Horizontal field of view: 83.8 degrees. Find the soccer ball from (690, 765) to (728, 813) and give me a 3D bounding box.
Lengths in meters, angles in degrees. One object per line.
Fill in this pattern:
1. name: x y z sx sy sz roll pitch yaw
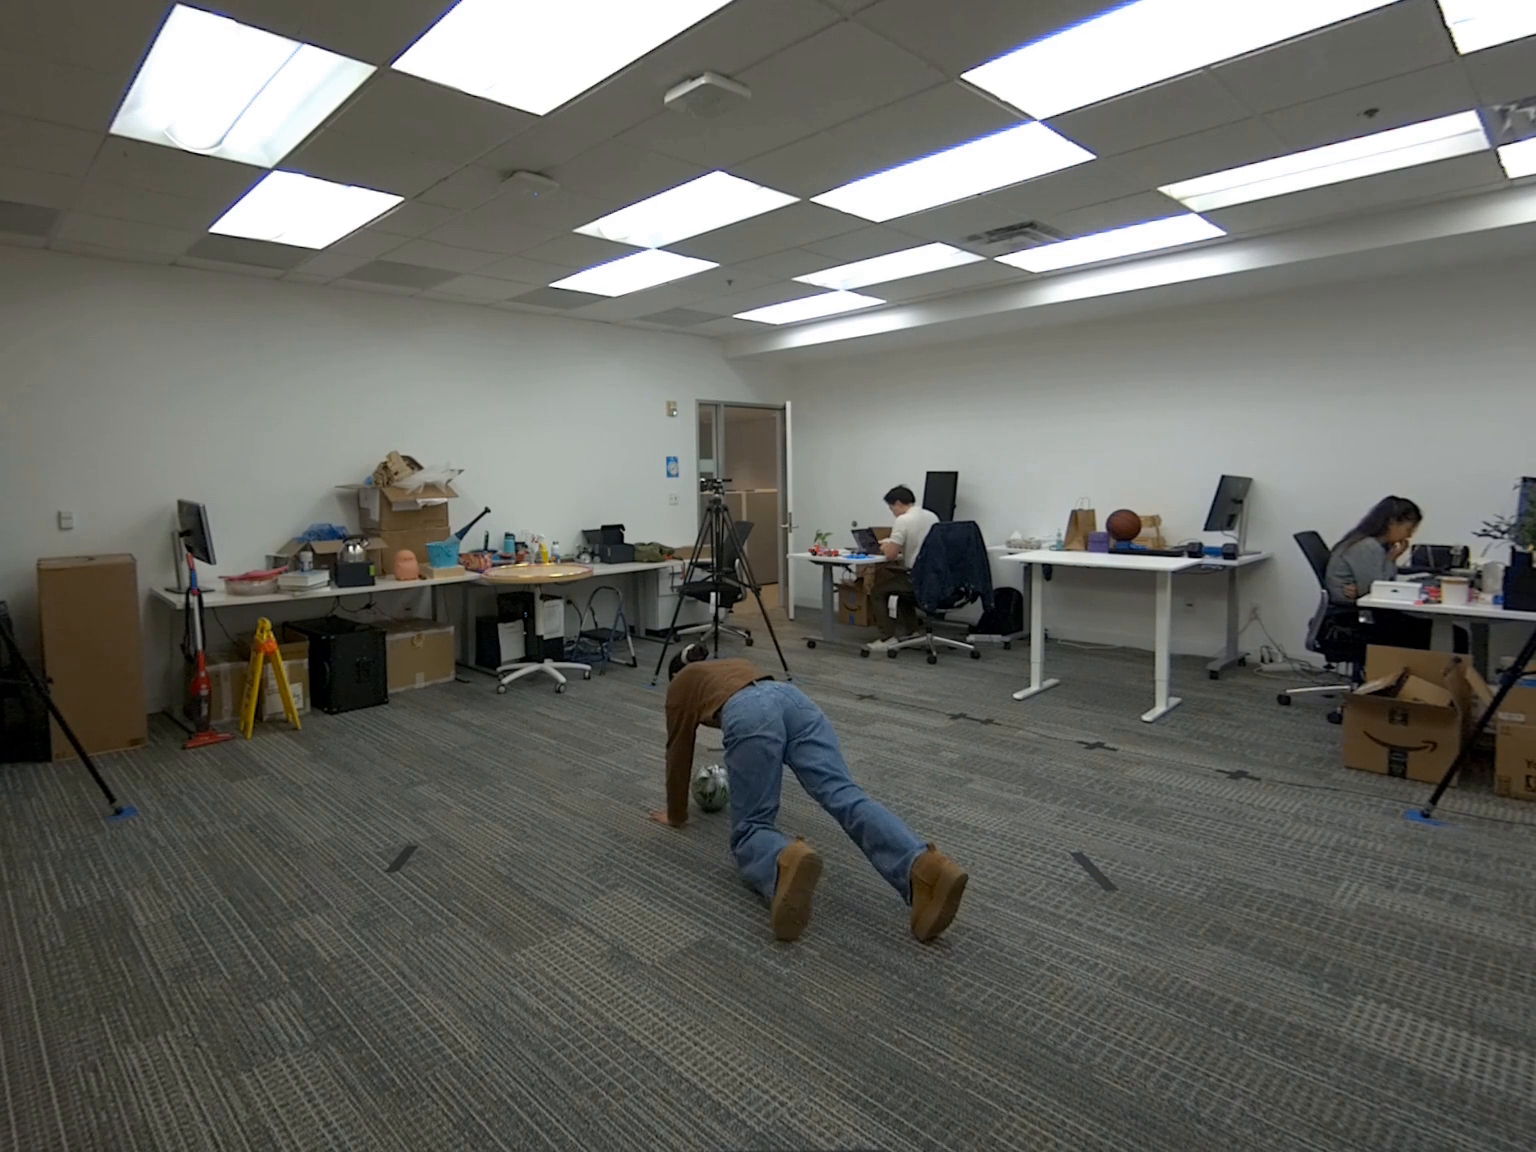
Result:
1. soccer ball: -0.236 0.899 3.632 0.187 0.187 0.188 -1 5 -2
